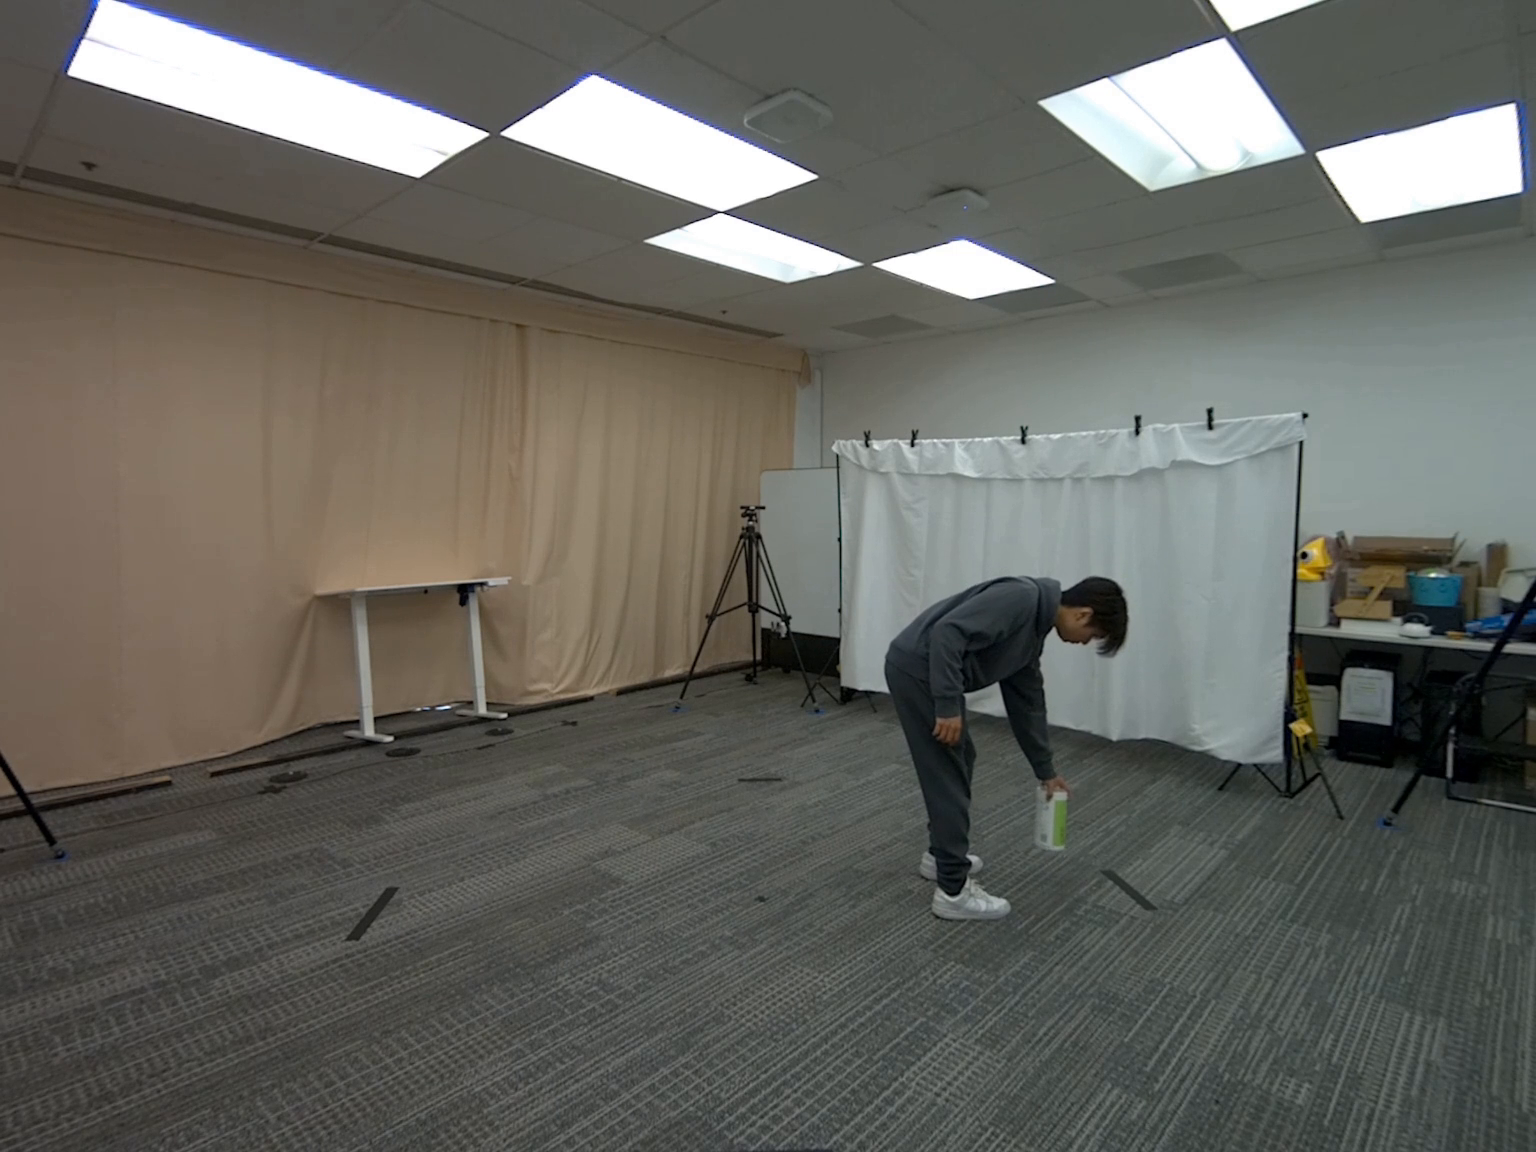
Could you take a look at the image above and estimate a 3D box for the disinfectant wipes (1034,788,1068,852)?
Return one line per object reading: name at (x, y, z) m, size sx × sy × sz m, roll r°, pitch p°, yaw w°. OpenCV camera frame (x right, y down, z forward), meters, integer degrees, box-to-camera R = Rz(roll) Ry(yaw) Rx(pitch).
disinfectant wipes at (1.064, 0.909, 3.140) m, size 0.118 × 0.217 × 0.118 m, roll 3°, pitch 0°, yaw -2°
